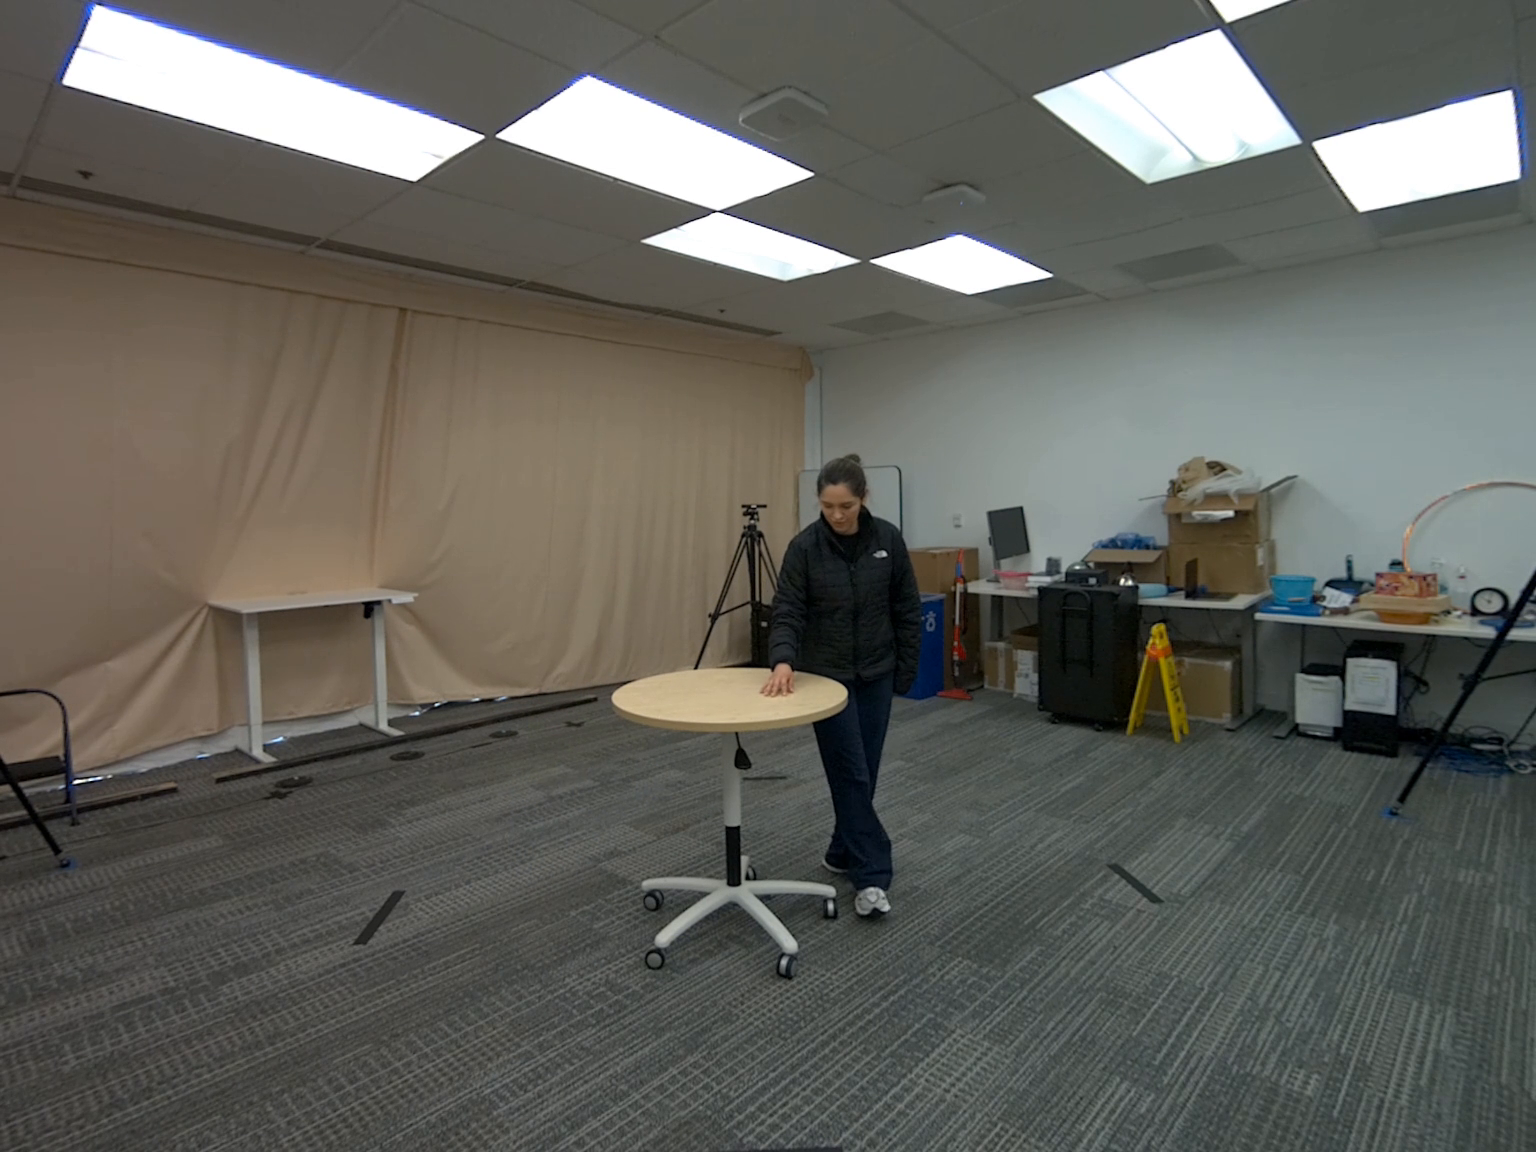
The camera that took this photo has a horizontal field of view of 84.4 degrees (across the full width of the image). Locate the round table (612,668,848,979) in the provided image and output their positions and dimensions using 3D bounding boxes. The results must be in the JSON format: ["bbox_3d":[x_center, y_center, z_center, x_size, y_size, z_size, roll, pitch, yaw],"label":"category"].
[{"bbox_3d":[-0.113,0.767,2.781,0.784,0.784,0.788,-1,4,-2],"label":"round table"}]
